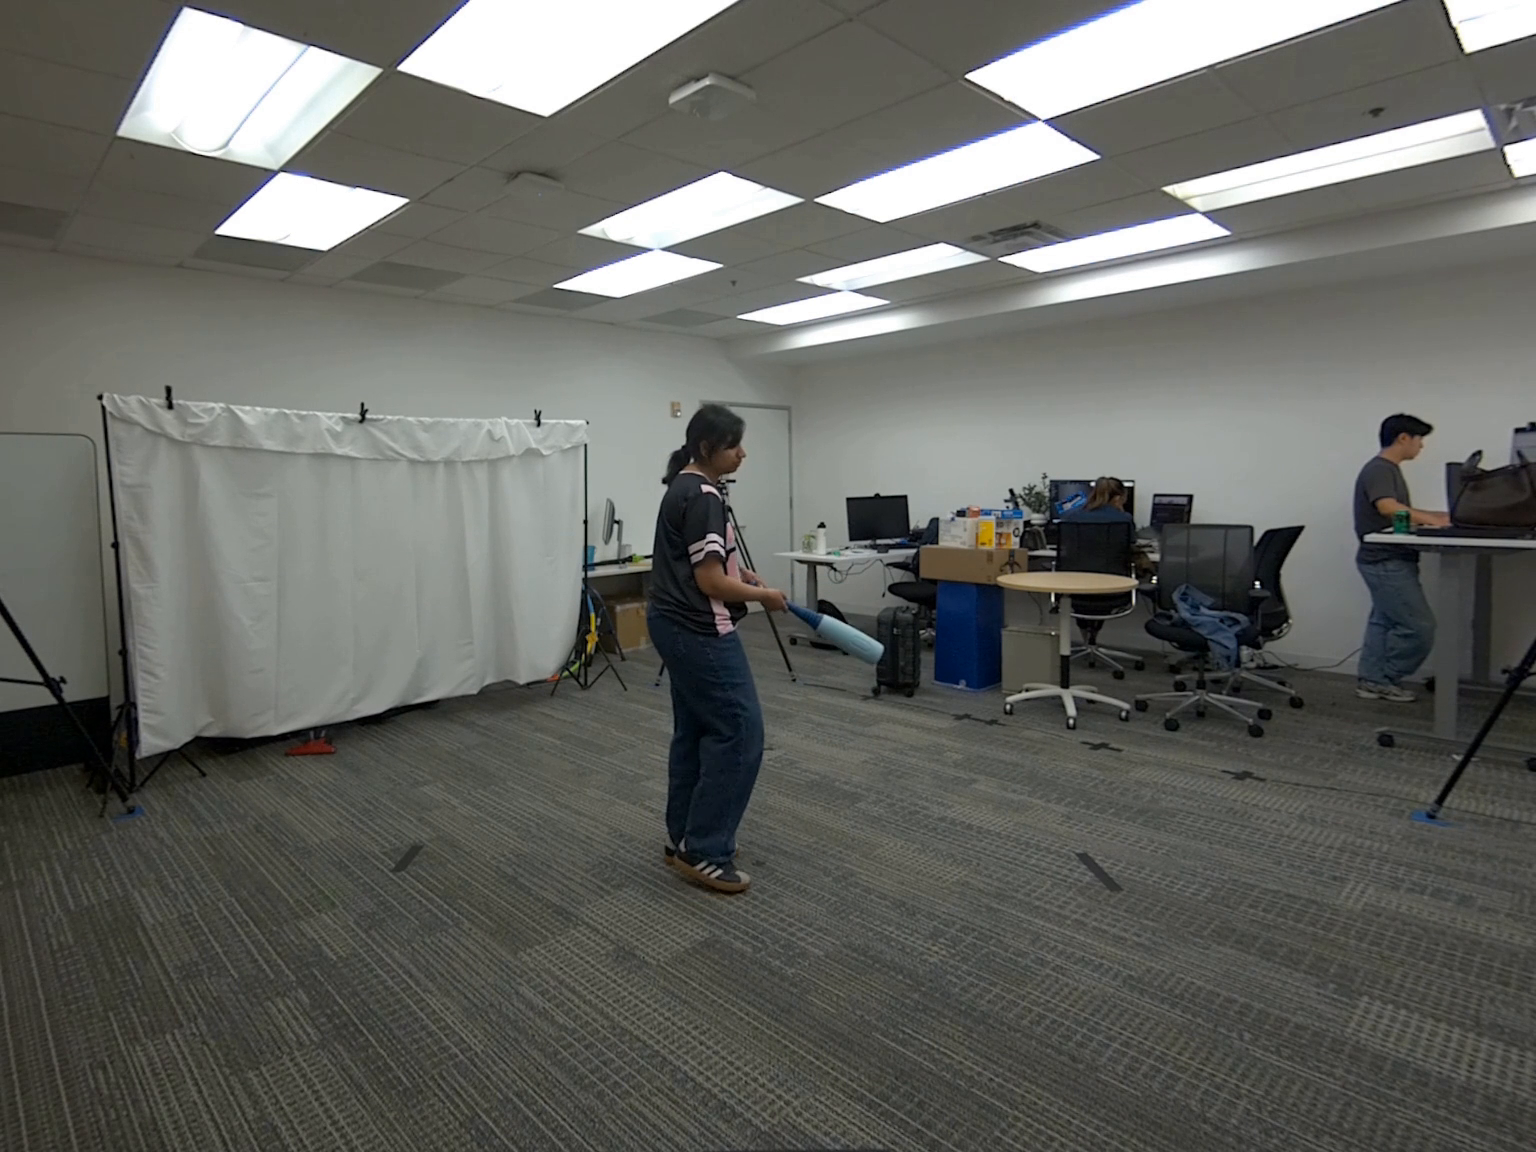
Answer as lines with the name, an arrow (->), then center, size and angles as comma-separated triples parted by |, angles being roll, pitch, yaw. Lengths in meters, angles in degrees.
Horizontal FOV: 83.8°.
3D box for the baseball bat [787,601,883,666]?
baseball bat -> 0.166, 0.160, 3.116 | 0.546, 0.089, 0.089 | 28, 7, 5
